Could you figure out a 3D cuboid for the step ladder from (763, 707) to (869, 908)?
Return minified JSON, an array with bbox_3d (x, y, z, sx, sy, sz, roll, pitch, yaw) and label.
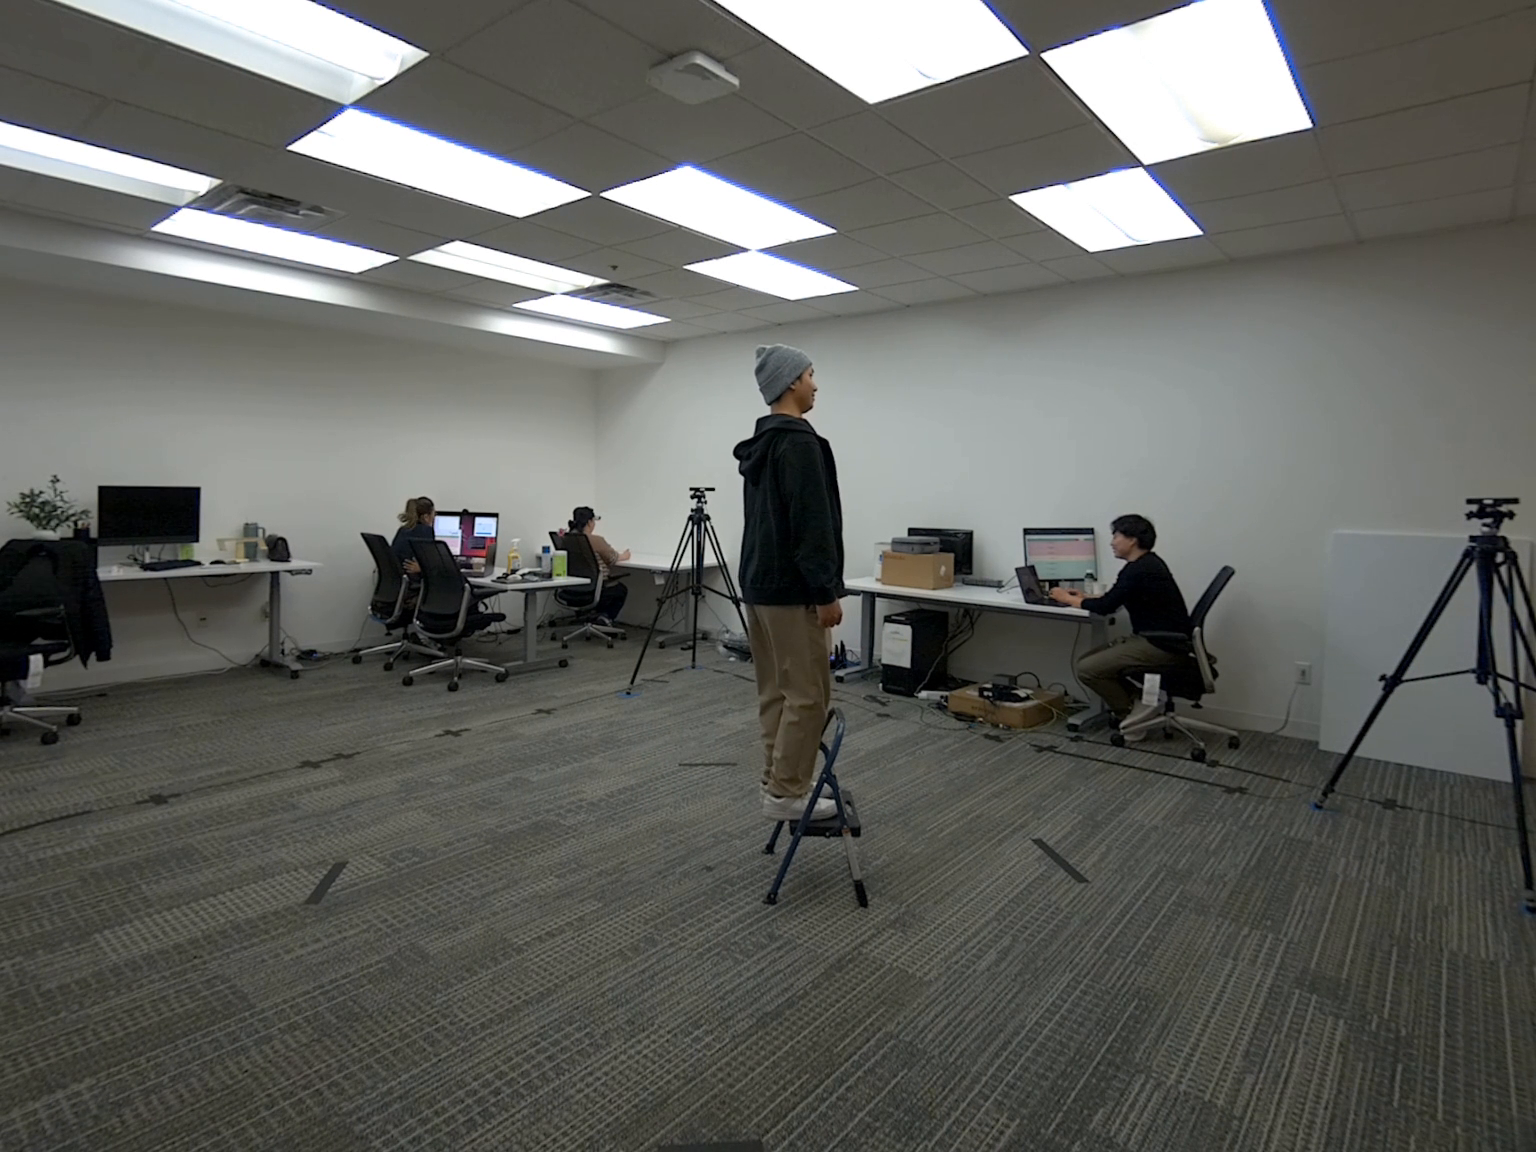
[{"bbox_3d":[0.162,0.785,3.038,0.350,0.604,0.431,1,4,0],"label":"step ladder"}]
